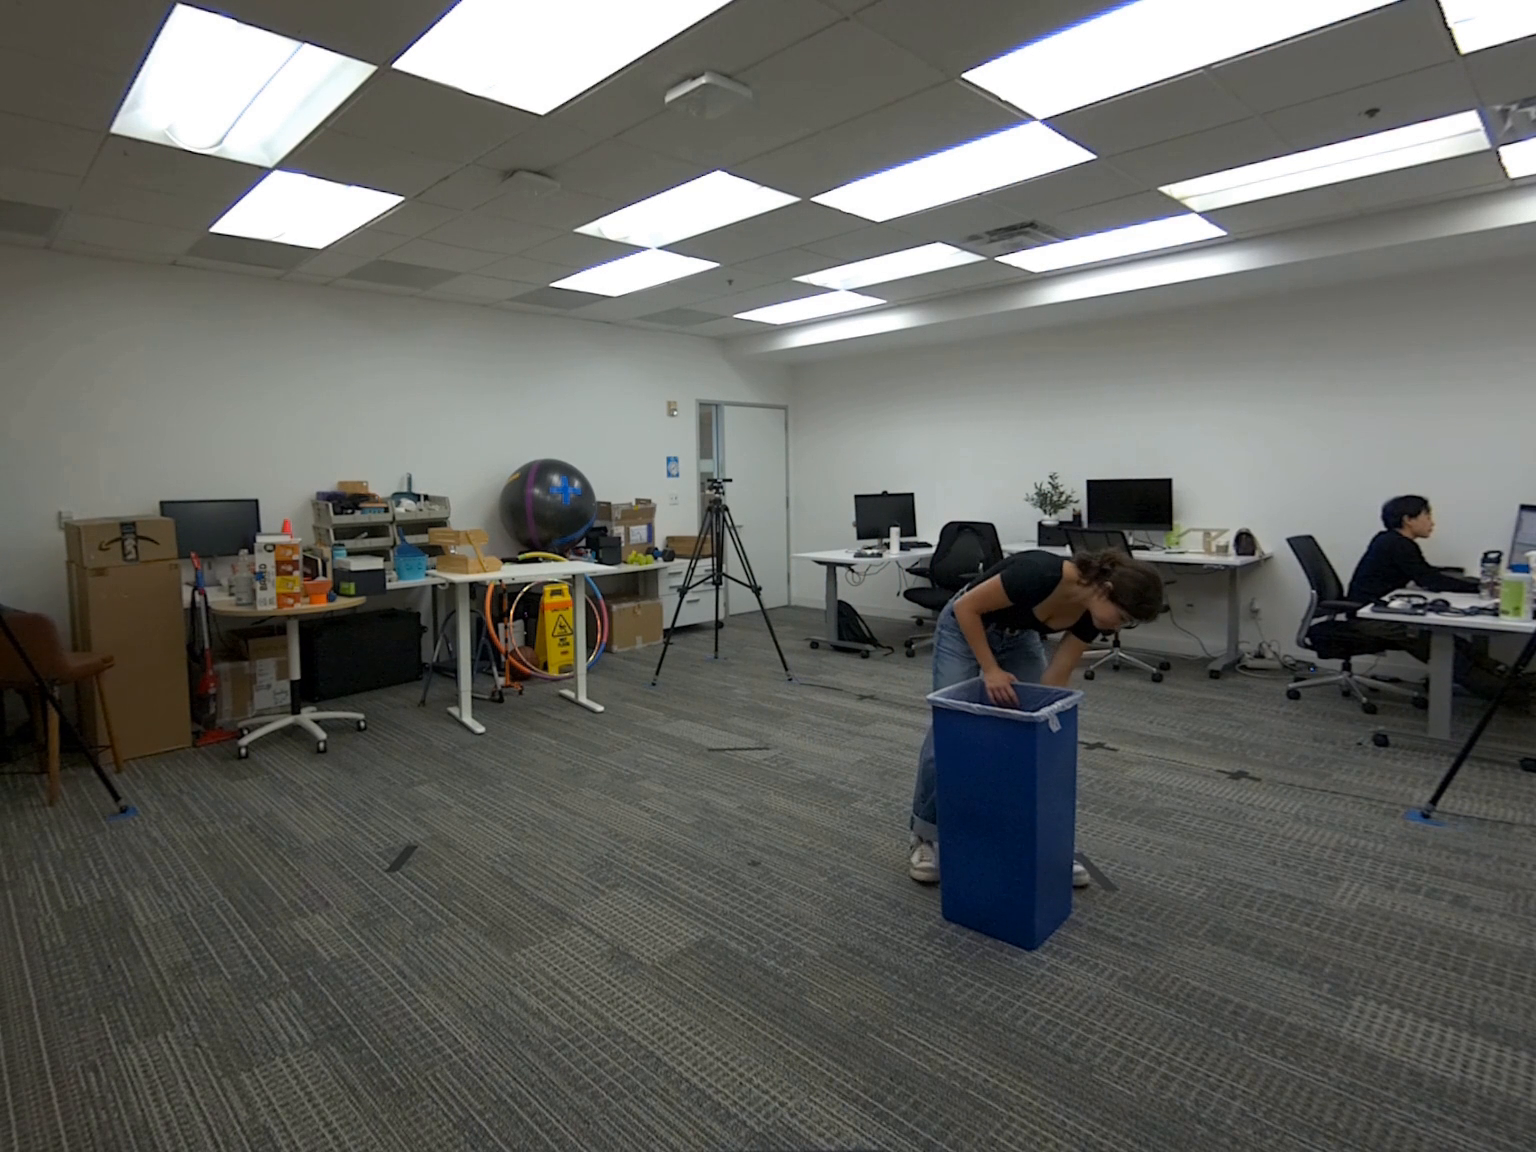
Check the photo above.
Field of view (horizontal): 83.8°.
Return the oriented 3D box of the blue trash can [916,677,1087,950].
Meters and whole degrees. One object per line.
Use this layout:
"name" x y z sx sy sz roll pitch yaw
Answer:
"blue trash can" 0.753 0.728 2.670 0.389 0.711 0.364 3 5 42
